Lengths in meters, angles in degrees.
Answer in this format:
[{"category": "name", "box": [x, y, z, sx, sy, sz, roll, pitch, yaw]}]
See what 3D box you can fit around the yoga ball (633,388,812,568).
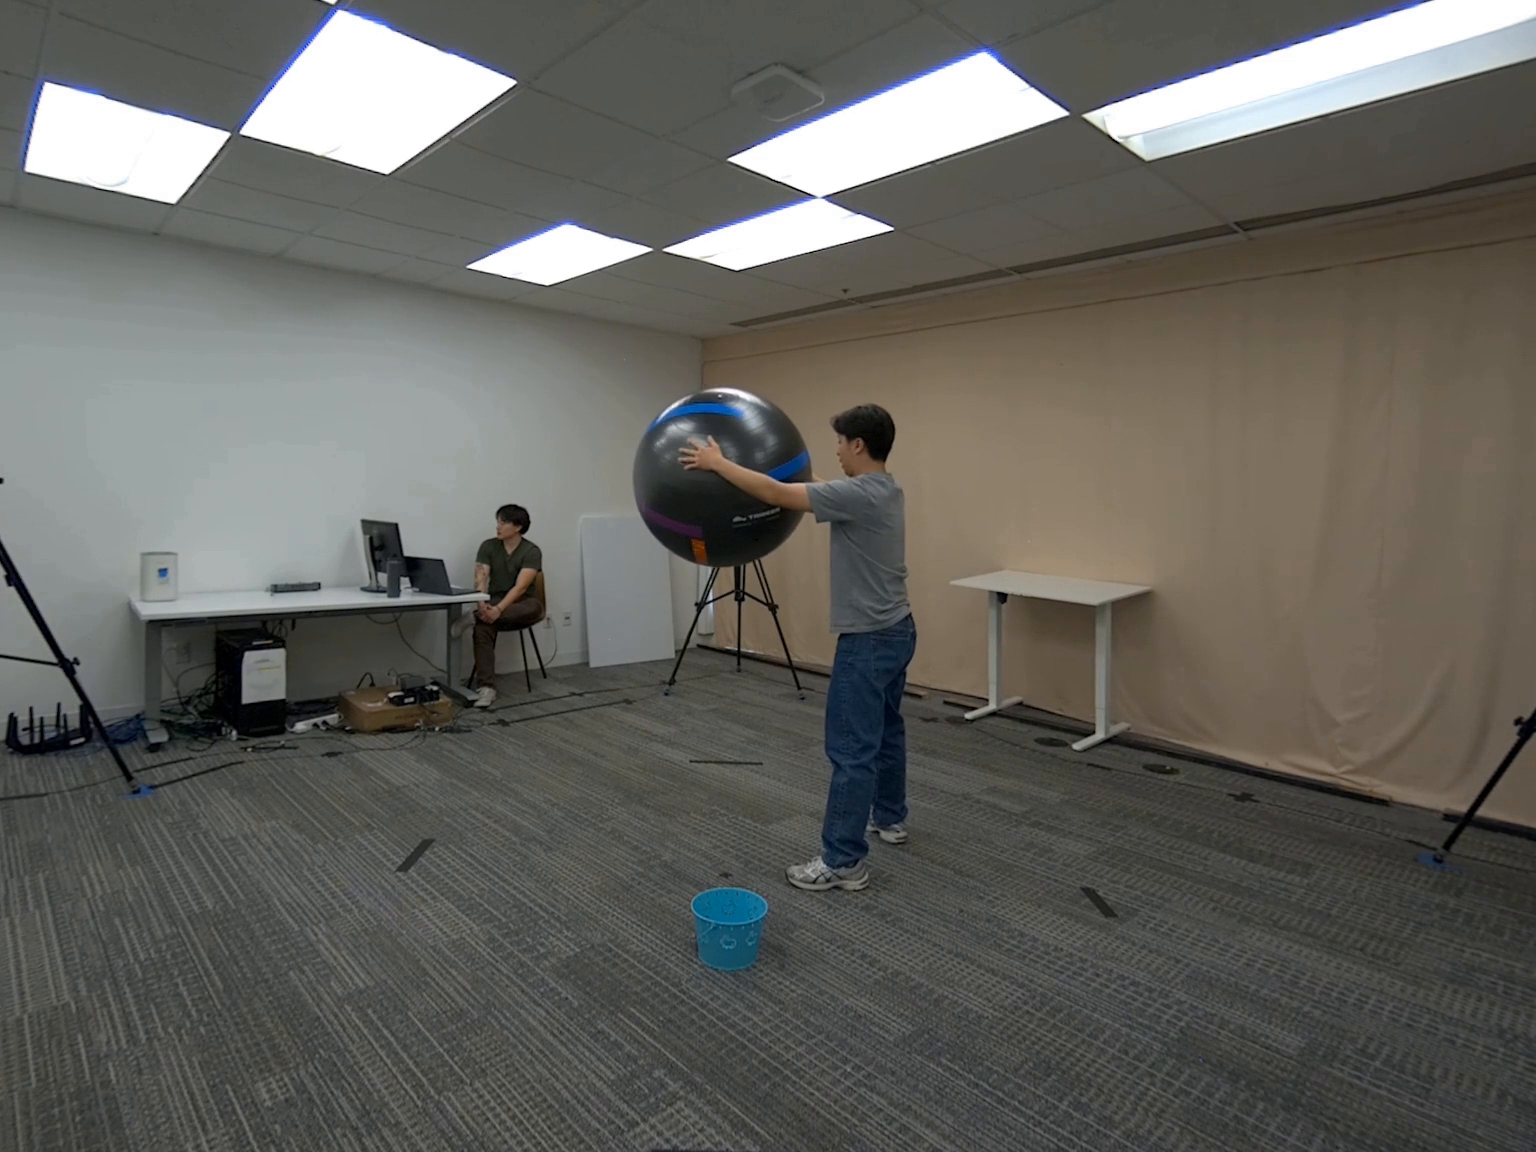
[{"category": "yoga ball", "box": [-0.199, -0.399, 3.577, 0.757, 0.756, 0.761, 1, 4, -1]}]
